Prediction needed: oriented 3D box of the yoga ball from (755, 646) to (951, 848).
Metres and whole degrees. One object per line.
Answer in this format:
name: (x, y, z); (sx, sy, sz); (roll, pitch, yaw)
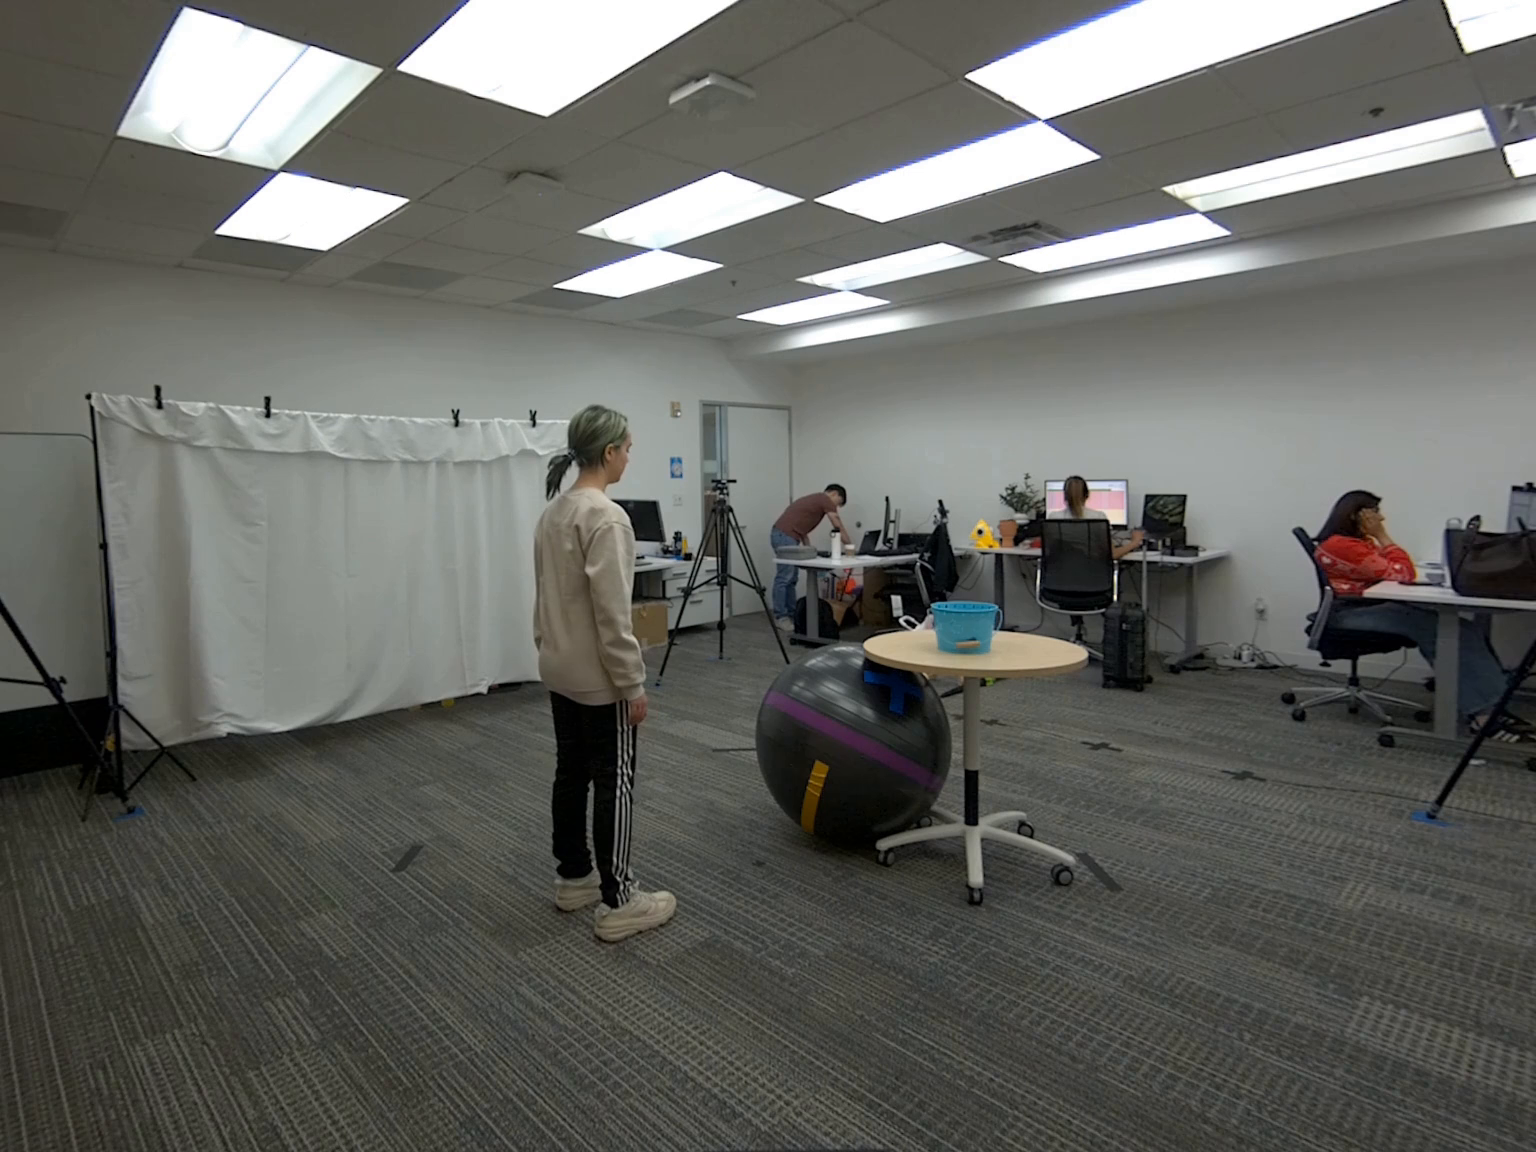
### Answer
yoga ball: (0.339, 0.648, 3.345); (0.757, 0.755, 0.762); (-1, 5, -2)
